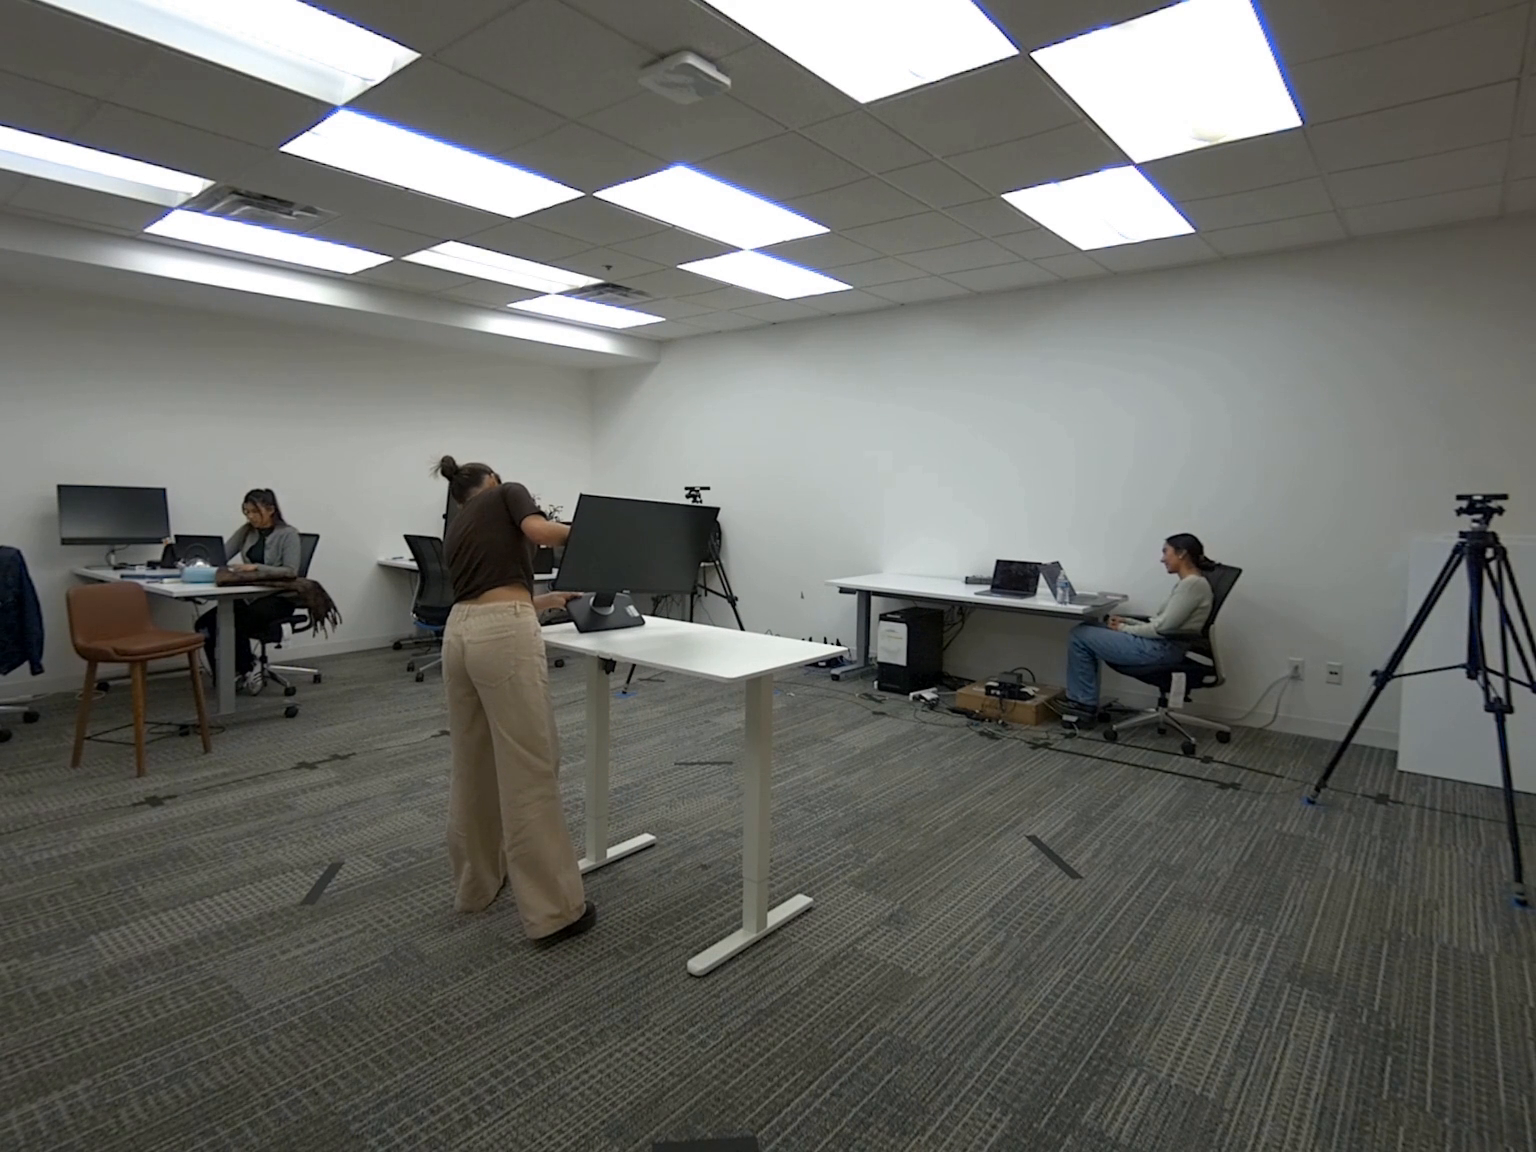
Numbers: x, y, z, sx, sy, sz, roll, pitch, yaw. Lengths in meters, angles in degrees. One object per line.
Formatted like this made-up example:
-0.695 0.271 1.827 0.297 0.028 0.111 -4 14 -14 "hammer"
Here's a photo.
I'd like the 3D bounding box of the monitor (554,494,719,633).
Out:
-0.500 -0.050 2.924 0.522 0.518 0.195 1 42 -40 "monitor"
